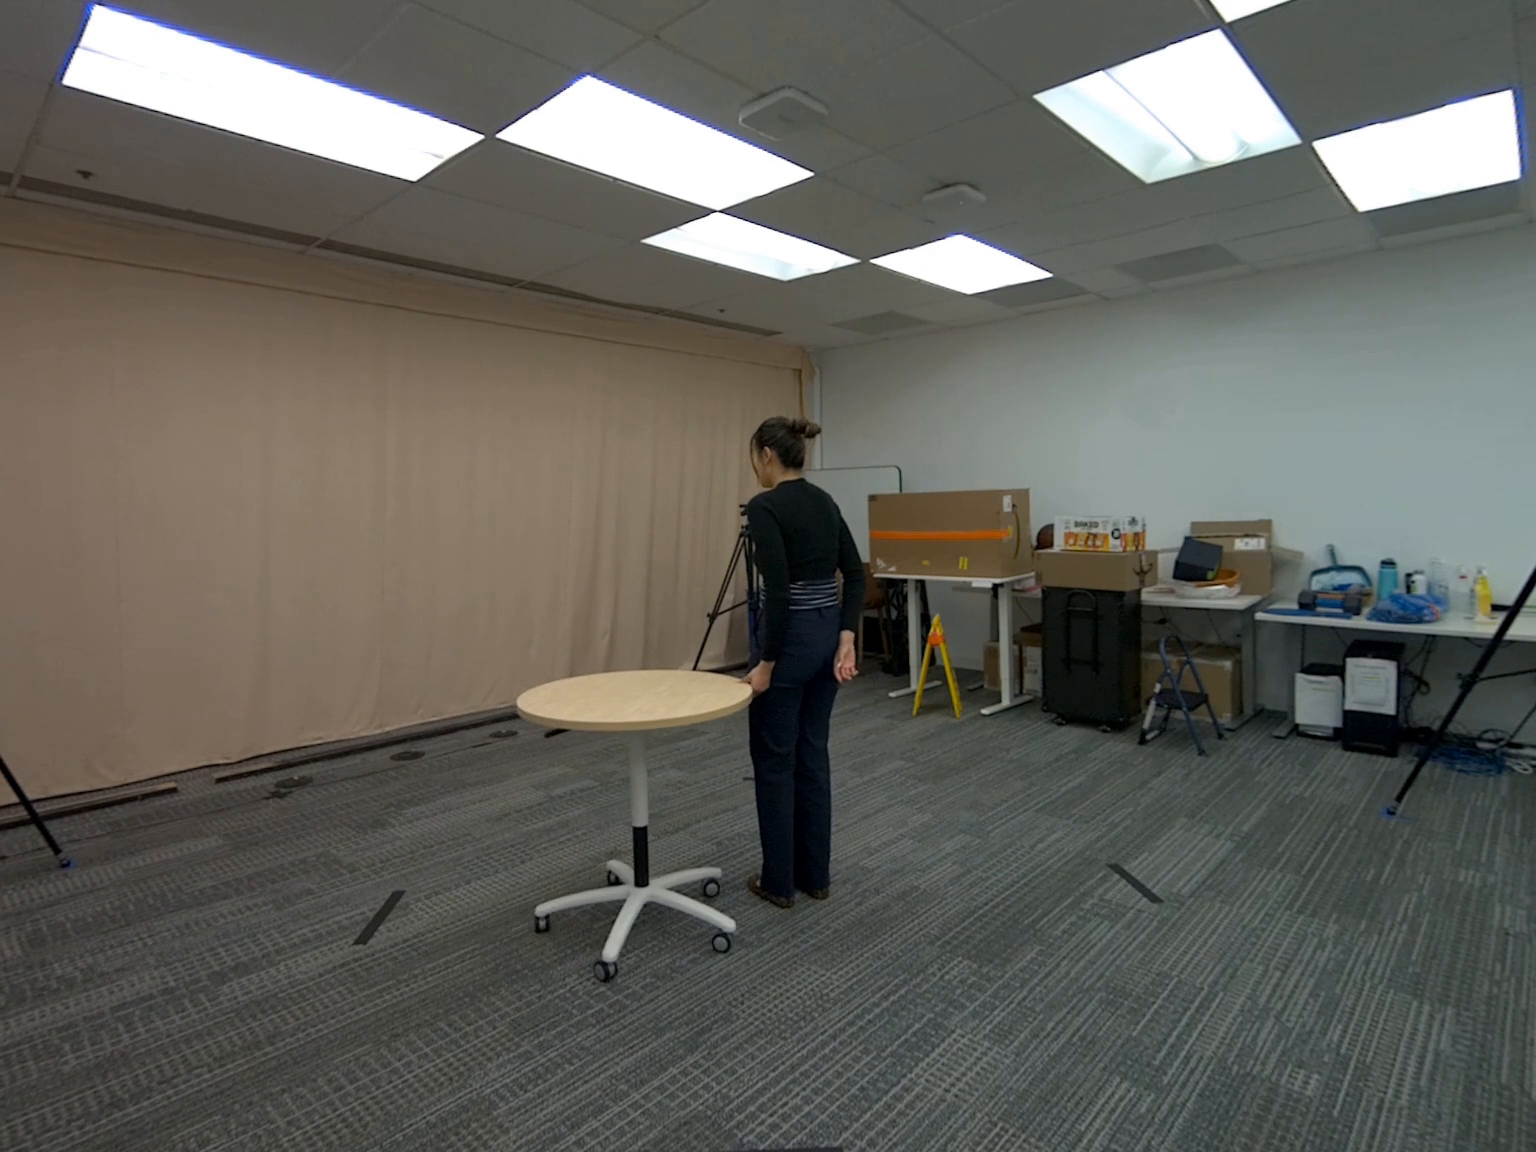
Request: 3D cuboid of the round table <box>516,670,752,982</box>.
[{"bbox_3d":[-0.423,0.778,2.777,0.763,0.792,0.767,-2,4,-2],"label":"round table"}]
